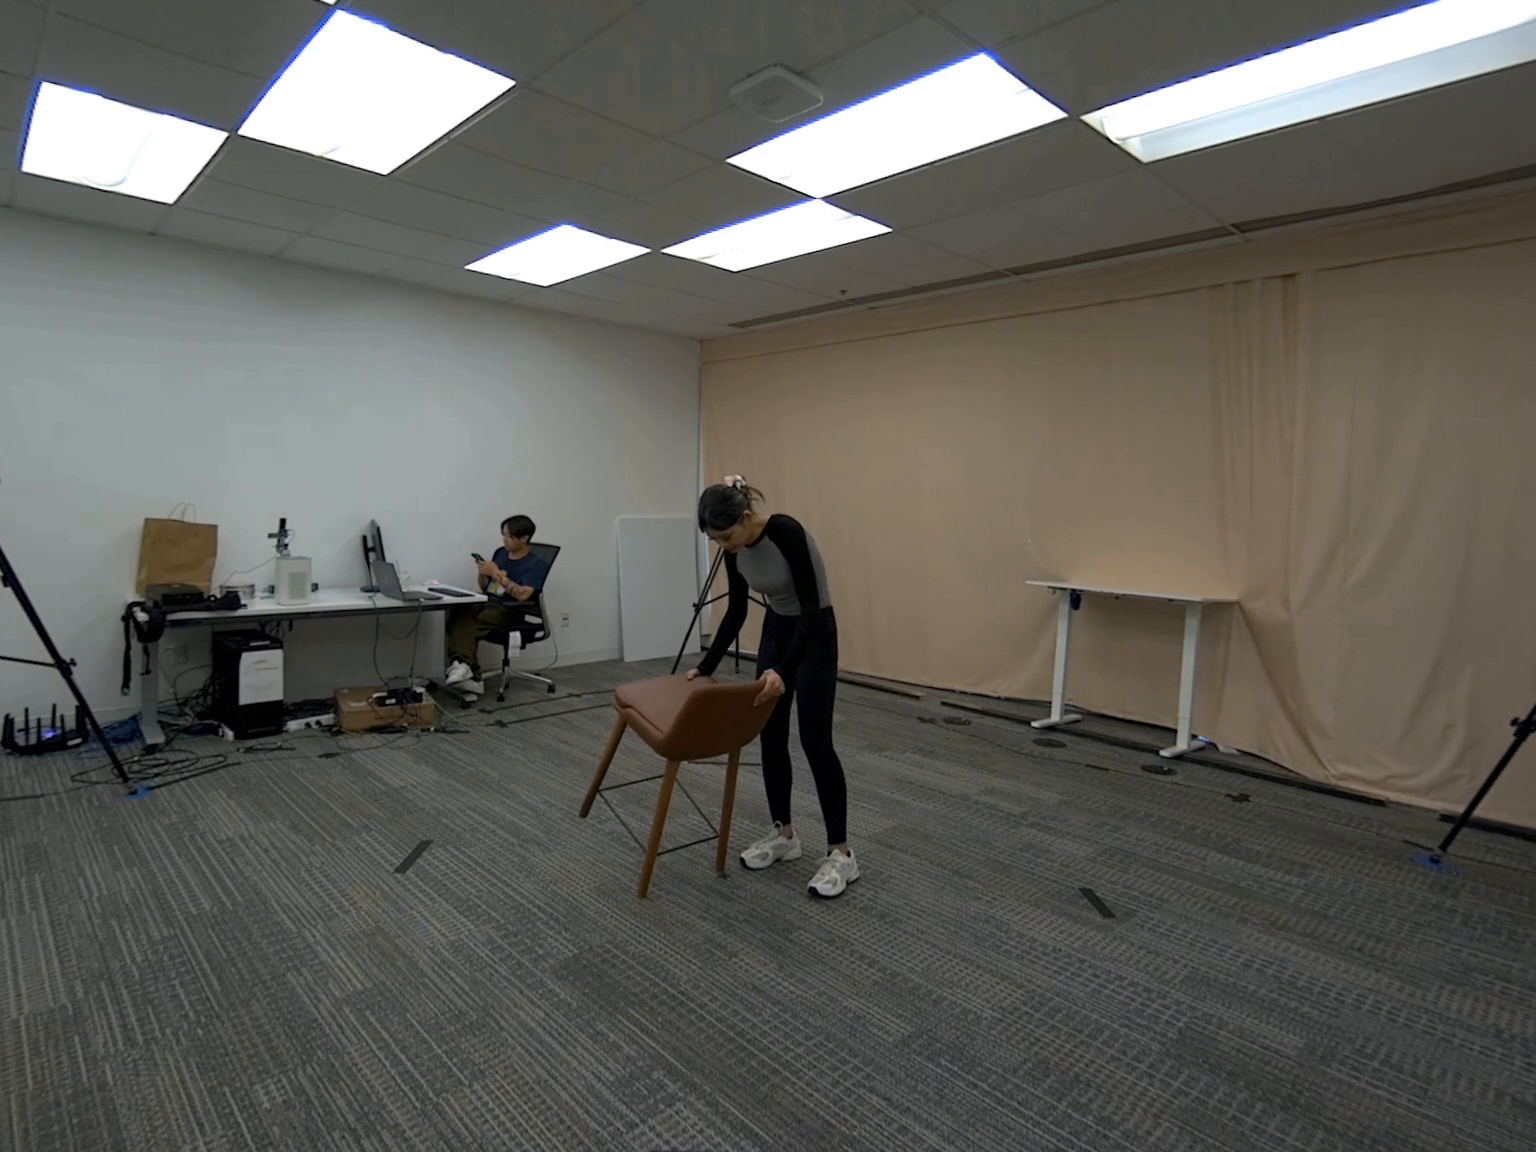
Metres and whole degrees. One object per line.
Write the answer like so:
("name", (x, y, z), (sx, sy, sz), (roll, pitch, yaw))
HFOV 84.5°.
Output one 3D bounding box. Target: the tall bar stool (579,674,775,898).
("tall bar stool", (-0.321, 0.632, 3.022), (0.446, 0.881, 0.483), (-1, 28, -40))
